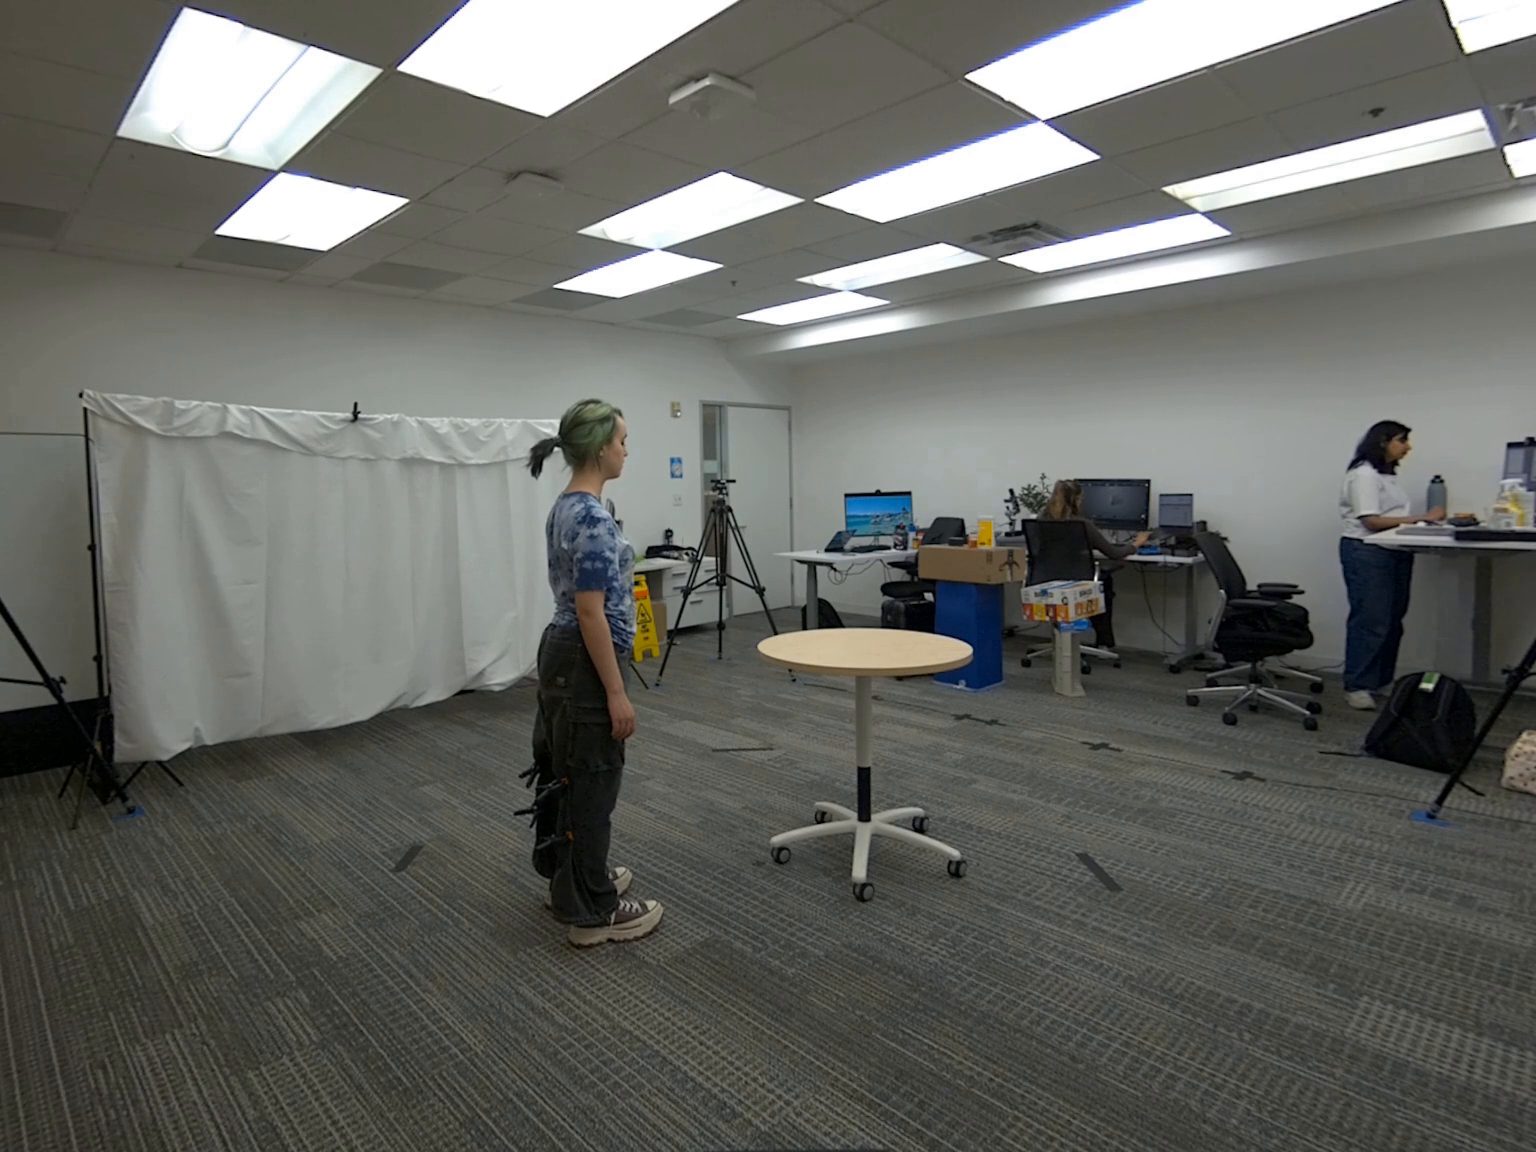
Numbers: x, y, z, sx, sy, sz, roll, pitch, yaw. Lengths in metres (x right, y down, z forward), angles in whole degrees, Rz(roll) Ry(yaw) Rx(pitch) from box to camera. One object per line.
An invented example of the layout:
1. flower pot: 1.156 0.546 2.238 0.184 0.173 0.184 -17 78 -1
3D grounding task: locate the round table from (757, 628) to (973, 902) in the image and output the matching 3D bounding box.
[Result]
1. round table: 0.353 0.649 3.128 0.763 0.791 0.767 -1 4 -2
